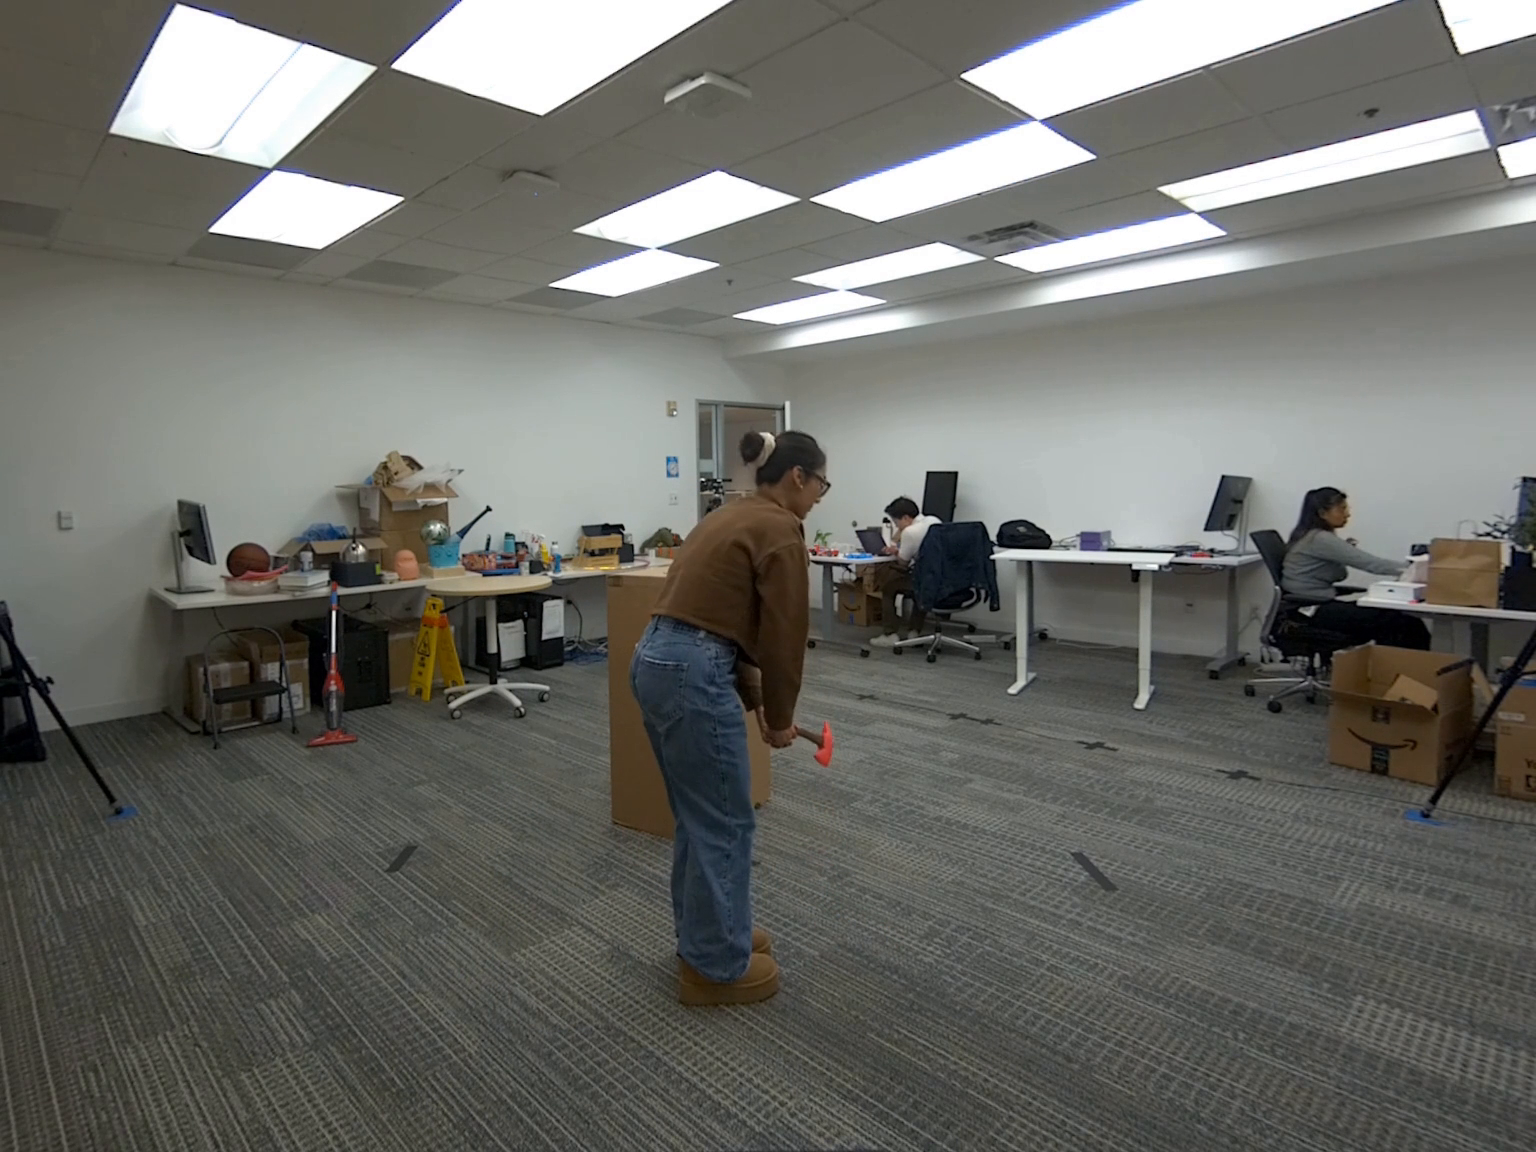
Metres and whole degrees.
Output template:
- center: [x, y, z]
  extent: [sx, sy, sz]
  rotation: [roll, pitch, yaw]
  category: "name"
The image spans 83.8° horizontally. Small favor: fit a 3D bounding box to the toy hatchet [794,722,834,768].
- center: [0.107, 0.496, 2.448]
  extent: [0.262, 0.133, 0.030]
  rotation: [3, -24, -44]
  category: "toy hatchet"
